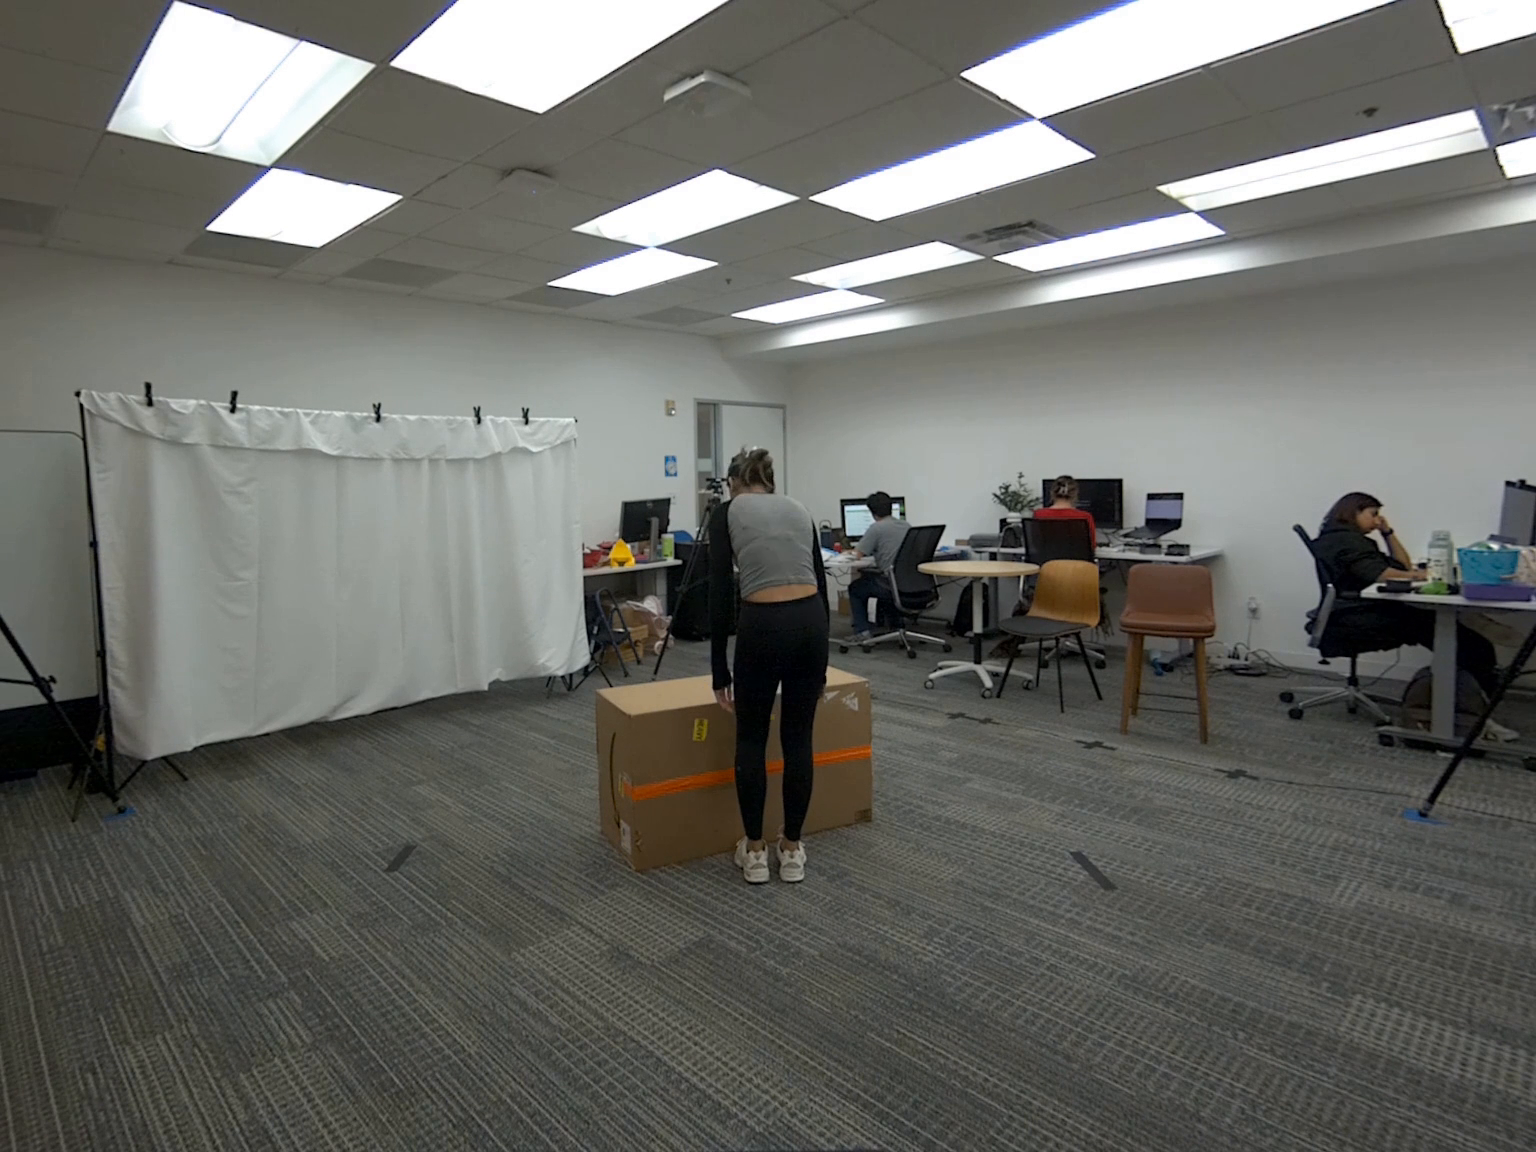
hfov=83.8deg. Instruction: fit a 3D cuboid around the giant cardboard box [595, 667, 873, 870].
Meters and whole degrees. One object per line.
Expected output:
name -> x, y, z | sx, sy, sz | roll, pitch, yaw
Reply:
giant cardboard box -> -0.132, 0.719, 3.427 | 1.005, 0.575, 0.437 | -4, 5, -25
